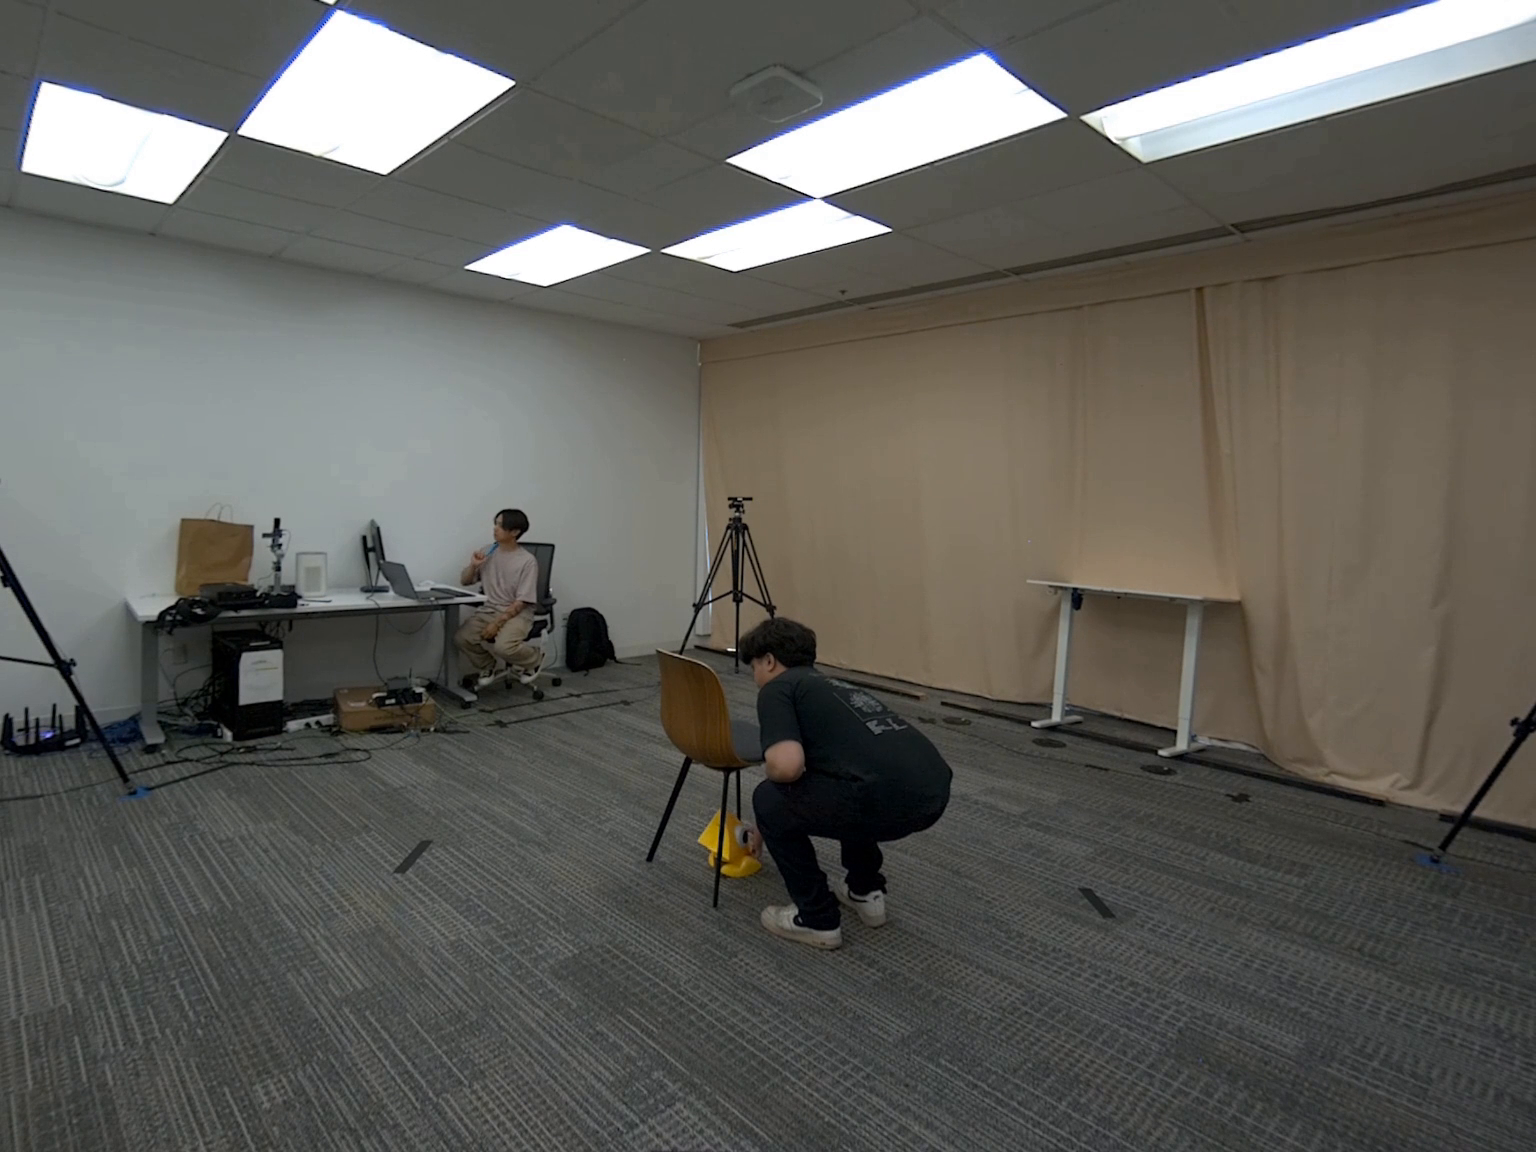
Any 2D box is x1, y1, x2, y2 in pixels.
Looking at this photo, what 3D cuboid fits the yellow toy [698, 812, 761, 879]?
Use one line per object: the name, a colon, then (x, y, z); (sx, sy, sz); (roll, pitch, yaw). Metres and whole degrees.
yellow toy: (-0.139, 0.990, 3.187); (0.189, 0.230, 0.210); (-2, 6, -33)
